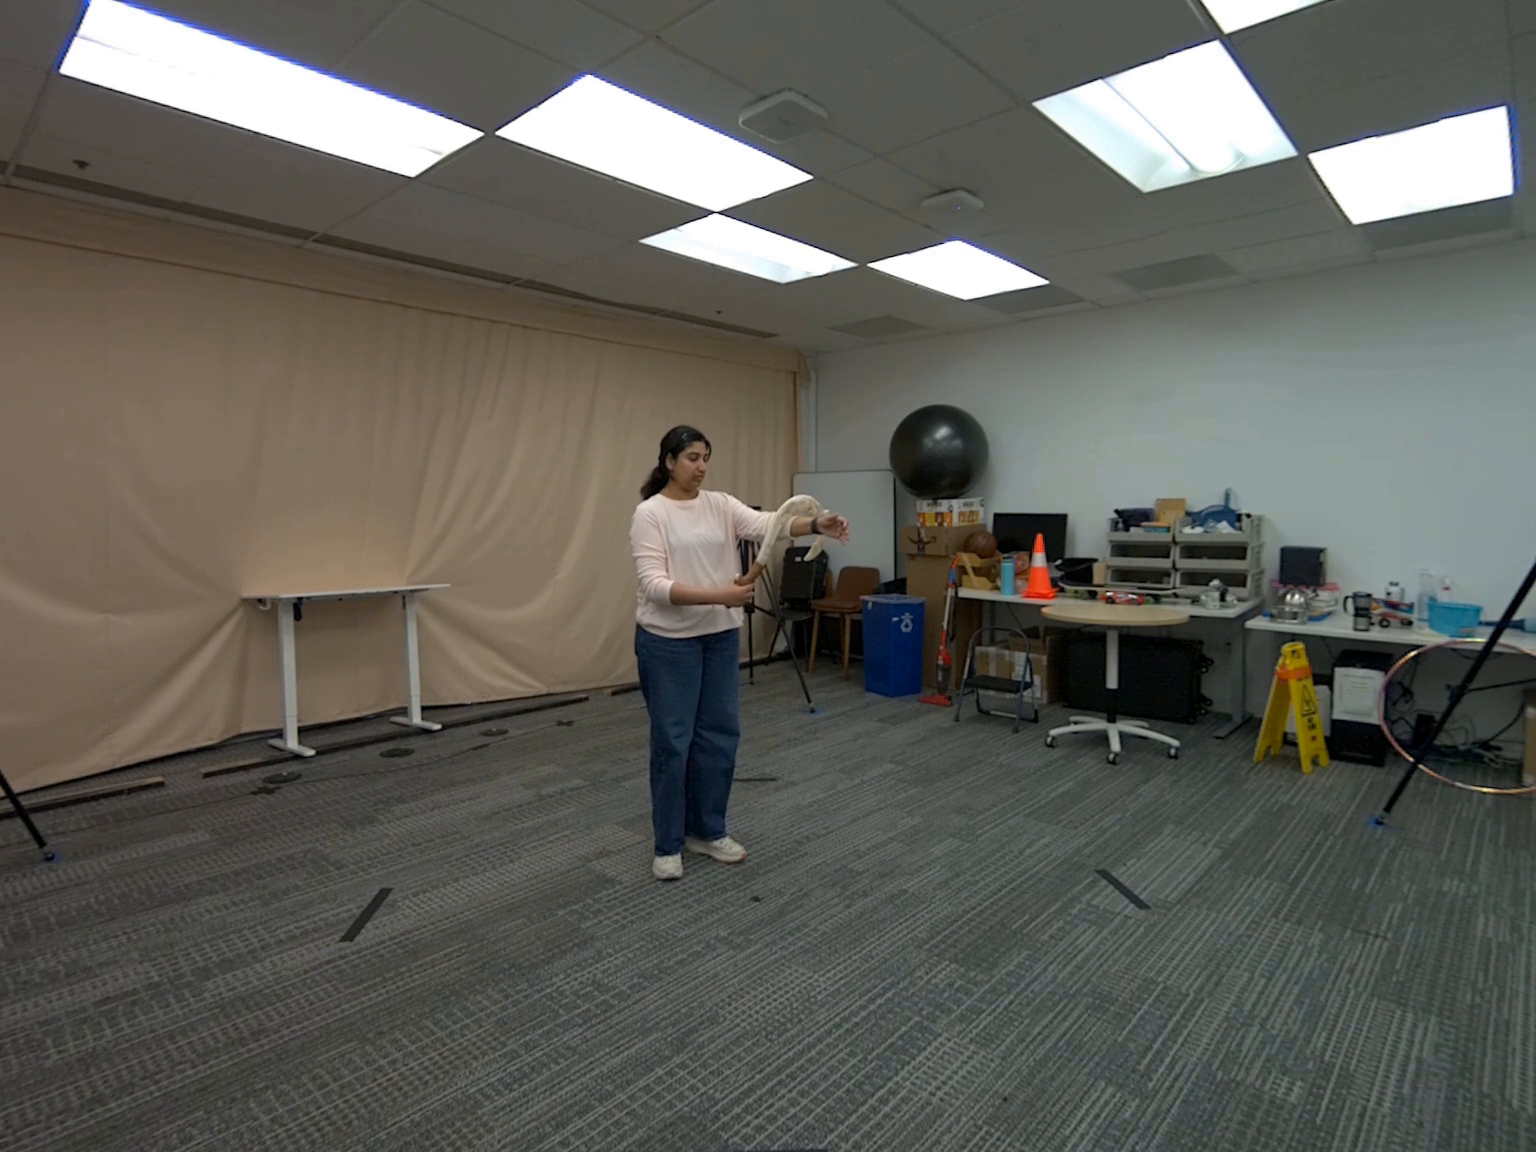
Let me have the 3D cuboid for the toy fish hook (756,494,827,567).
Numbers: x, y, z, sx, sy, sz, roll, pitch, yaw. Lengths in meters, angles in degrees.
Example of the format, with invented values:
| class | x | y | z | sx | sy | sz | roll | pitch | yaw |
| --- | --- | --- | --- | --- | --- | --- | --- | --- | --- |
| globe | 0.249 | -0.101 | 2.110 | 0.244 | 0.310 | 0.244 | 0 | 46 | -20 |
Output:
| class | x | y | z | sx | sy | sz | roll | pitch | yaw |
| --- | --- | --- | --- | --- | --- | --- | --- | --- | --- |
| toy fish hook | 0.040 | -0.058 | 3.051 | 0.221 | 0.506 | 0.049 | 37 | -1 | -14 |
